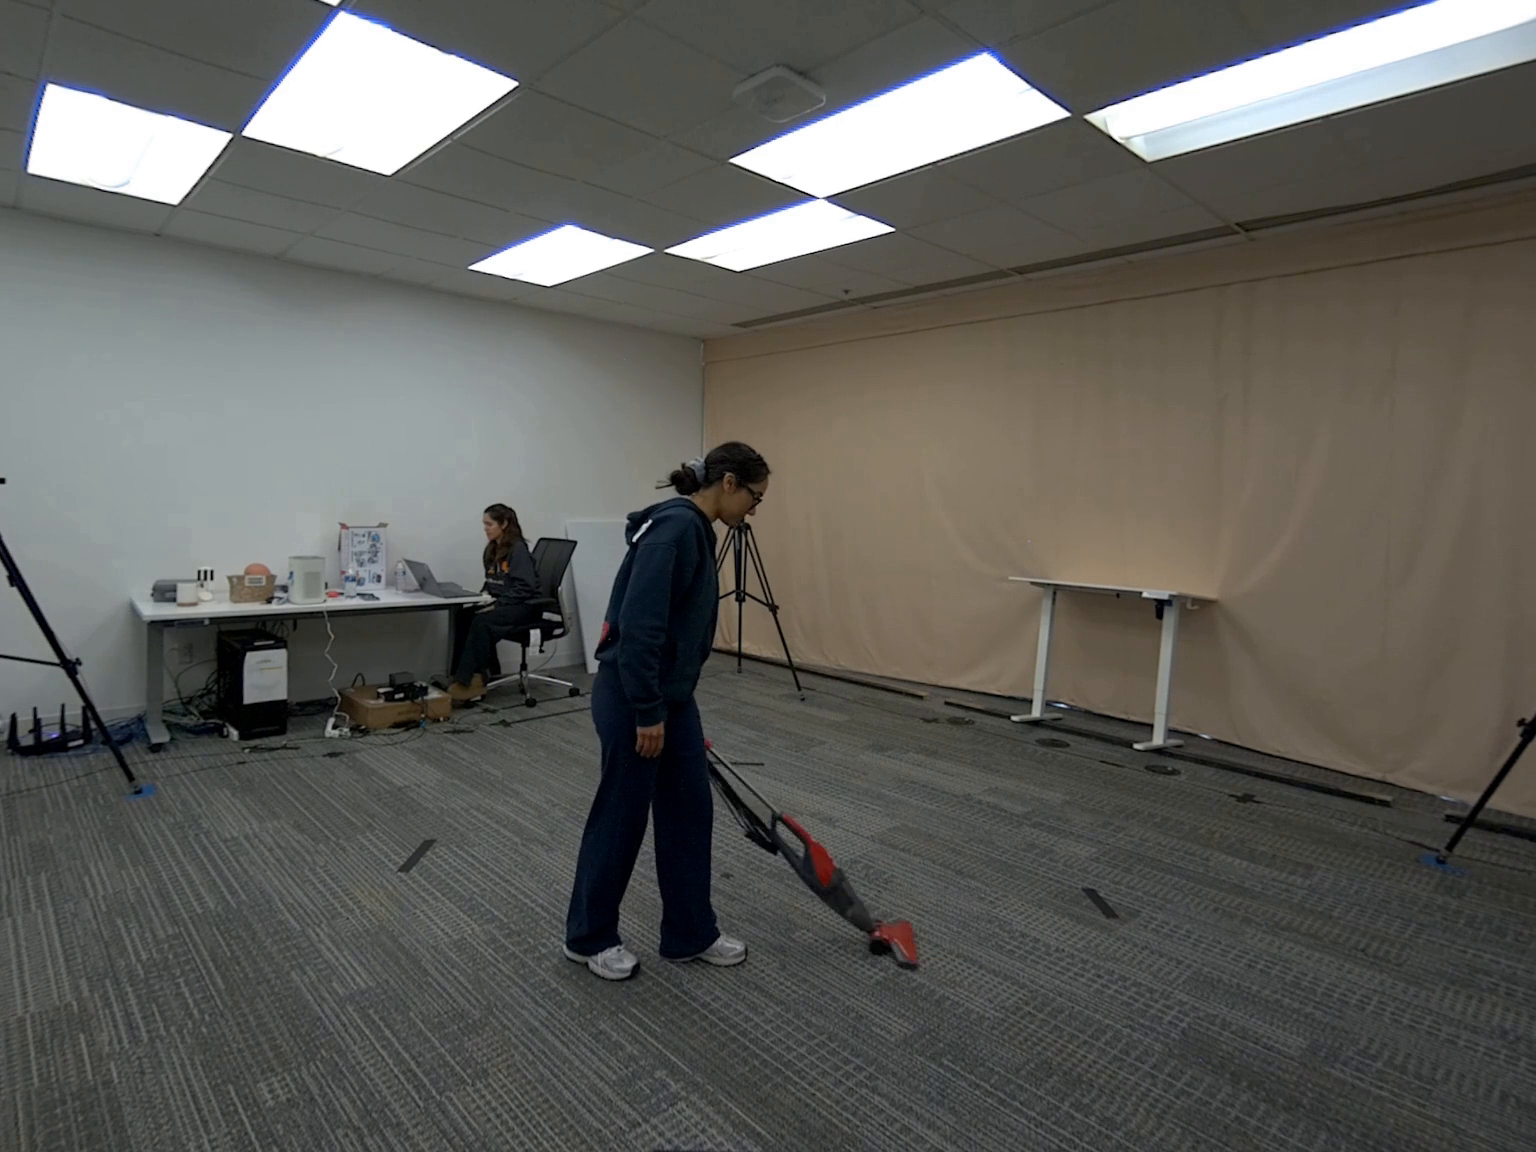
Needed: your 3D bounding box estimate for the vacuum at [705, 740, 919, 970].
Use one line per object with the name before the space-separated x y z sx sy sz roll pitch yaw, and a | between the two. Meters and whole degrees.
vacuum | 0.011 0.792 2.676 1.055 0.144 0.251 44 6 5
